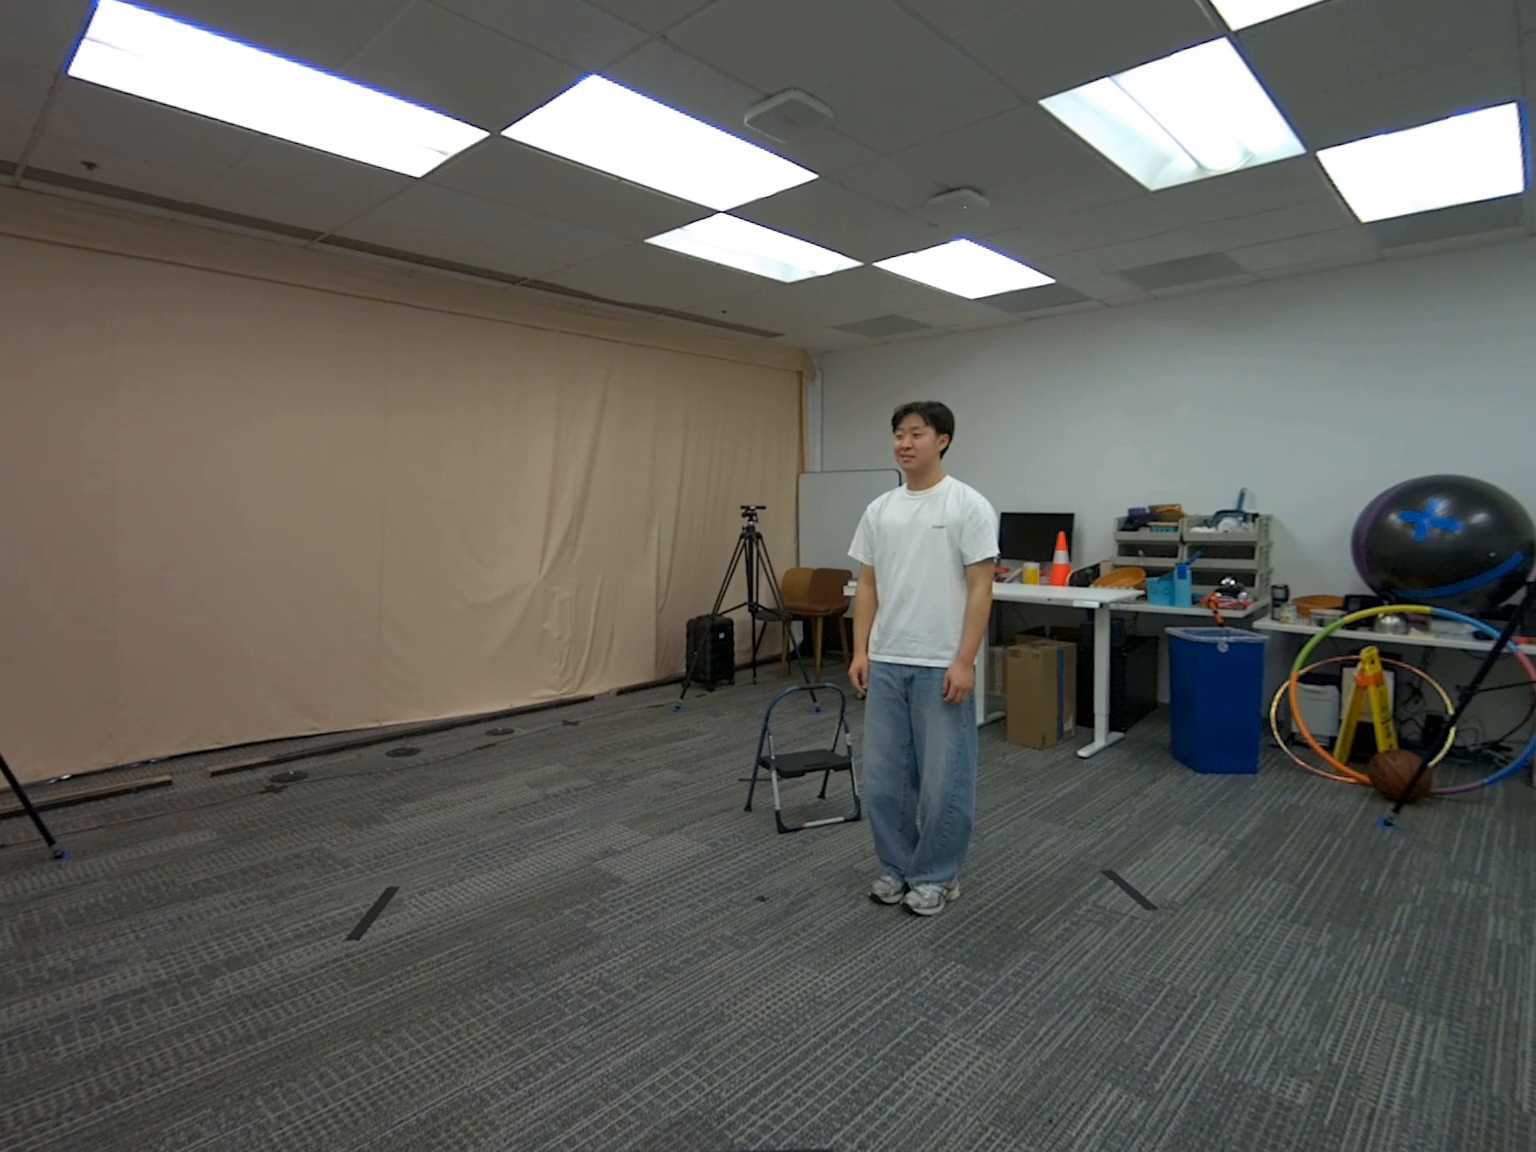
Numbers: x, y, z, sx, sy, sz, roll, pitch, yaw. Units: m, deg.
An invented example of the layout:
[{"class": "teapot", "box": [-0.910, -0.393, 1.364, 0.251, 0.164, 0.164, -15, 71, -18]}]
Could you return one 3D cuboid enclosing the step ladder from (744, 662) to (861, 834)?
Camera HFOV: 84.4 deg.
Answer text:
[{"class": "step ladder", "box": [0.152, 0.772, 3.792, 0.420, 0.605, 0.359, -2, 4, -26]}]
